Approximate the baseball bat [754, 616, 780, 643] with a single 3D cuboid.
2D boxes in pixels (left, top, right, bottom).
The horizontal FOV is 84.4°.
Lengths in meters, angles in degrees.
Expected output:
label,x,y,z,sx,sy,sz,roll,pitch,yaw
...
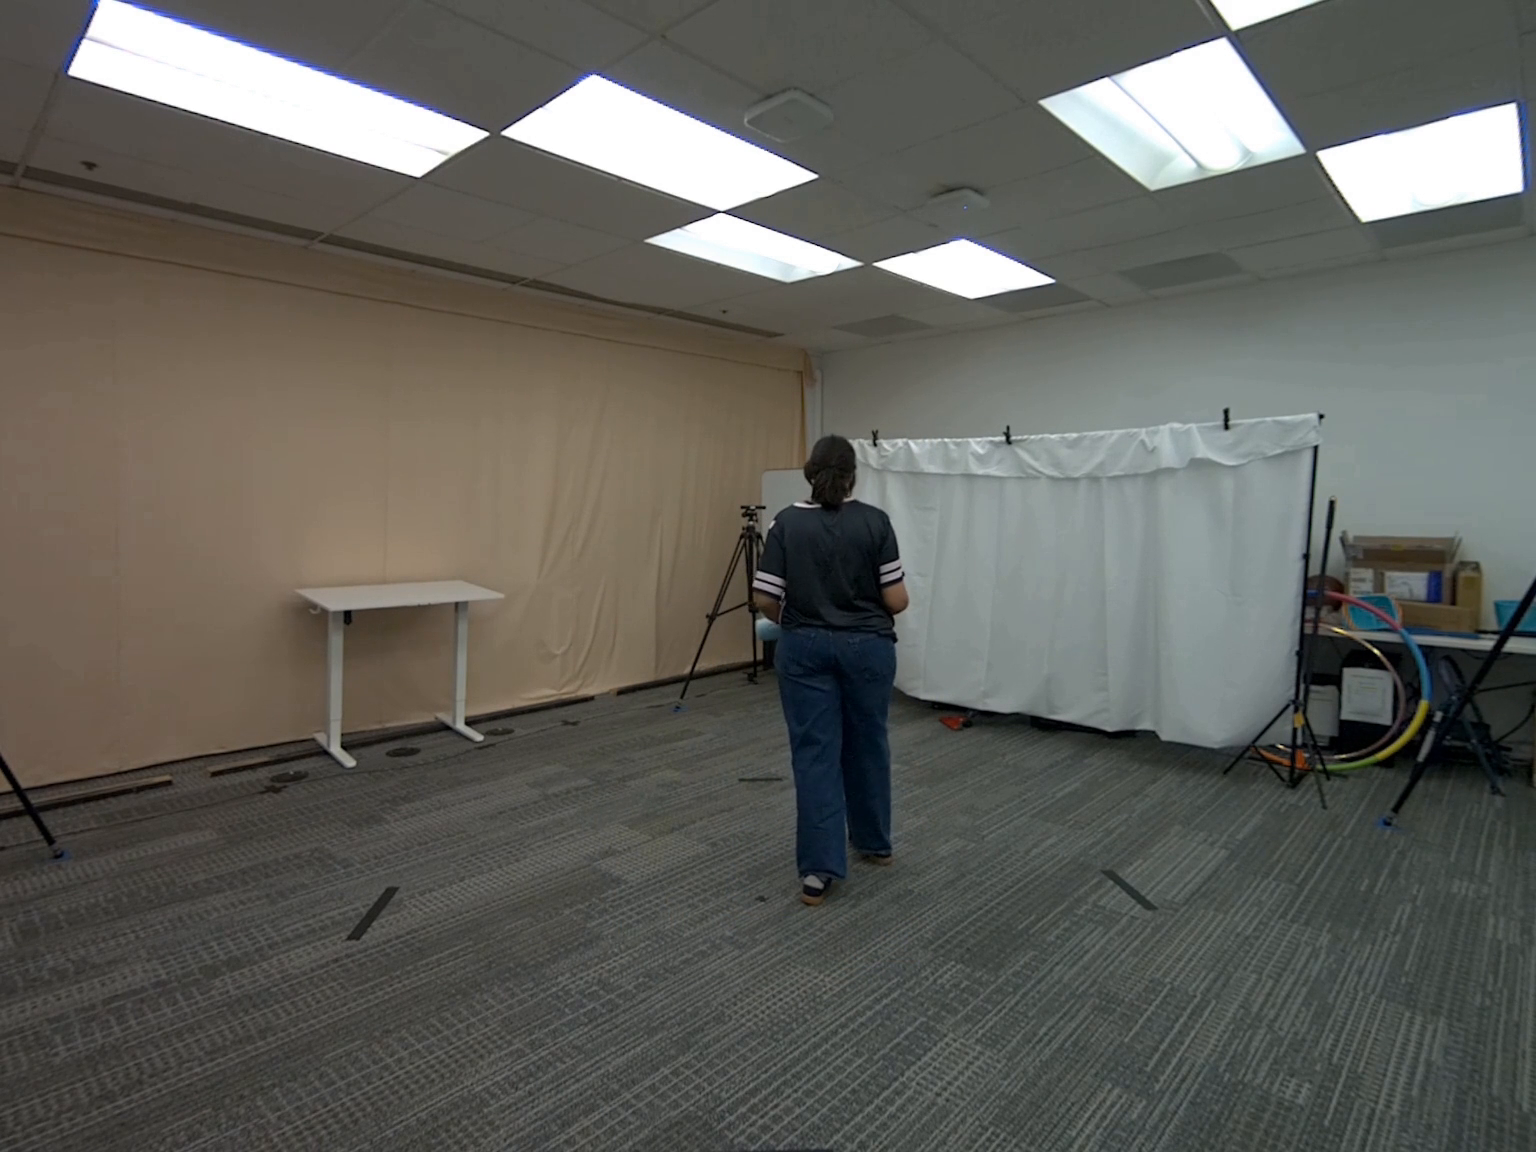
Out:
label,x,y,z,sx,sy,sz,roll,pitch,yaw
baseball bat,0.232,0.172,3.332,0.545,0.089,0.089,-9,3,4
